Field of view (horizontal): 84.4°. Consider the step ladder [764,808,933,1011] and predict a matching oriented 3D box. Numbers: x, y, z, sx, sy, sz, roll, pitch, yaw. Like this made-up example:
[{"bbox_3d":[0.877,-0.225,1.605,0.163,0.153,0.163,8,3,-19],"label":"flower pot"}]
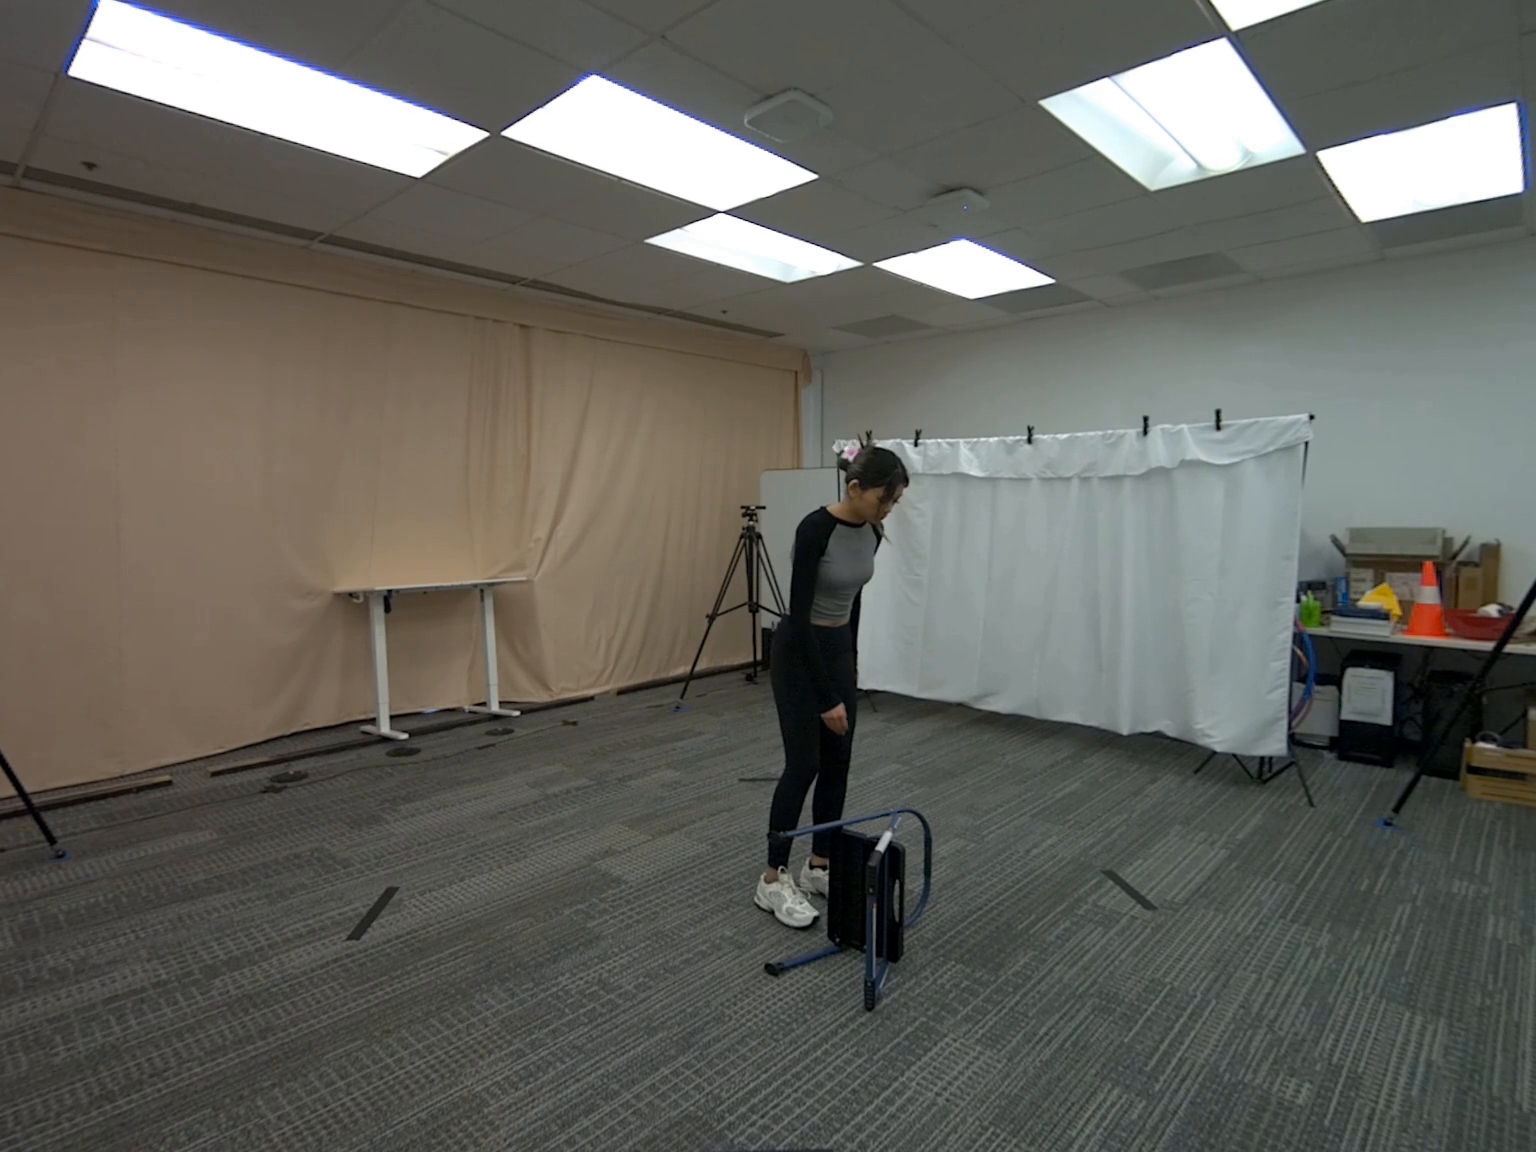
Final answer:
[{"bbox_3d":[0.314,0.964,2.628,0.360,0.430,0.588,4,5,36],"label":"step ladder"}]
